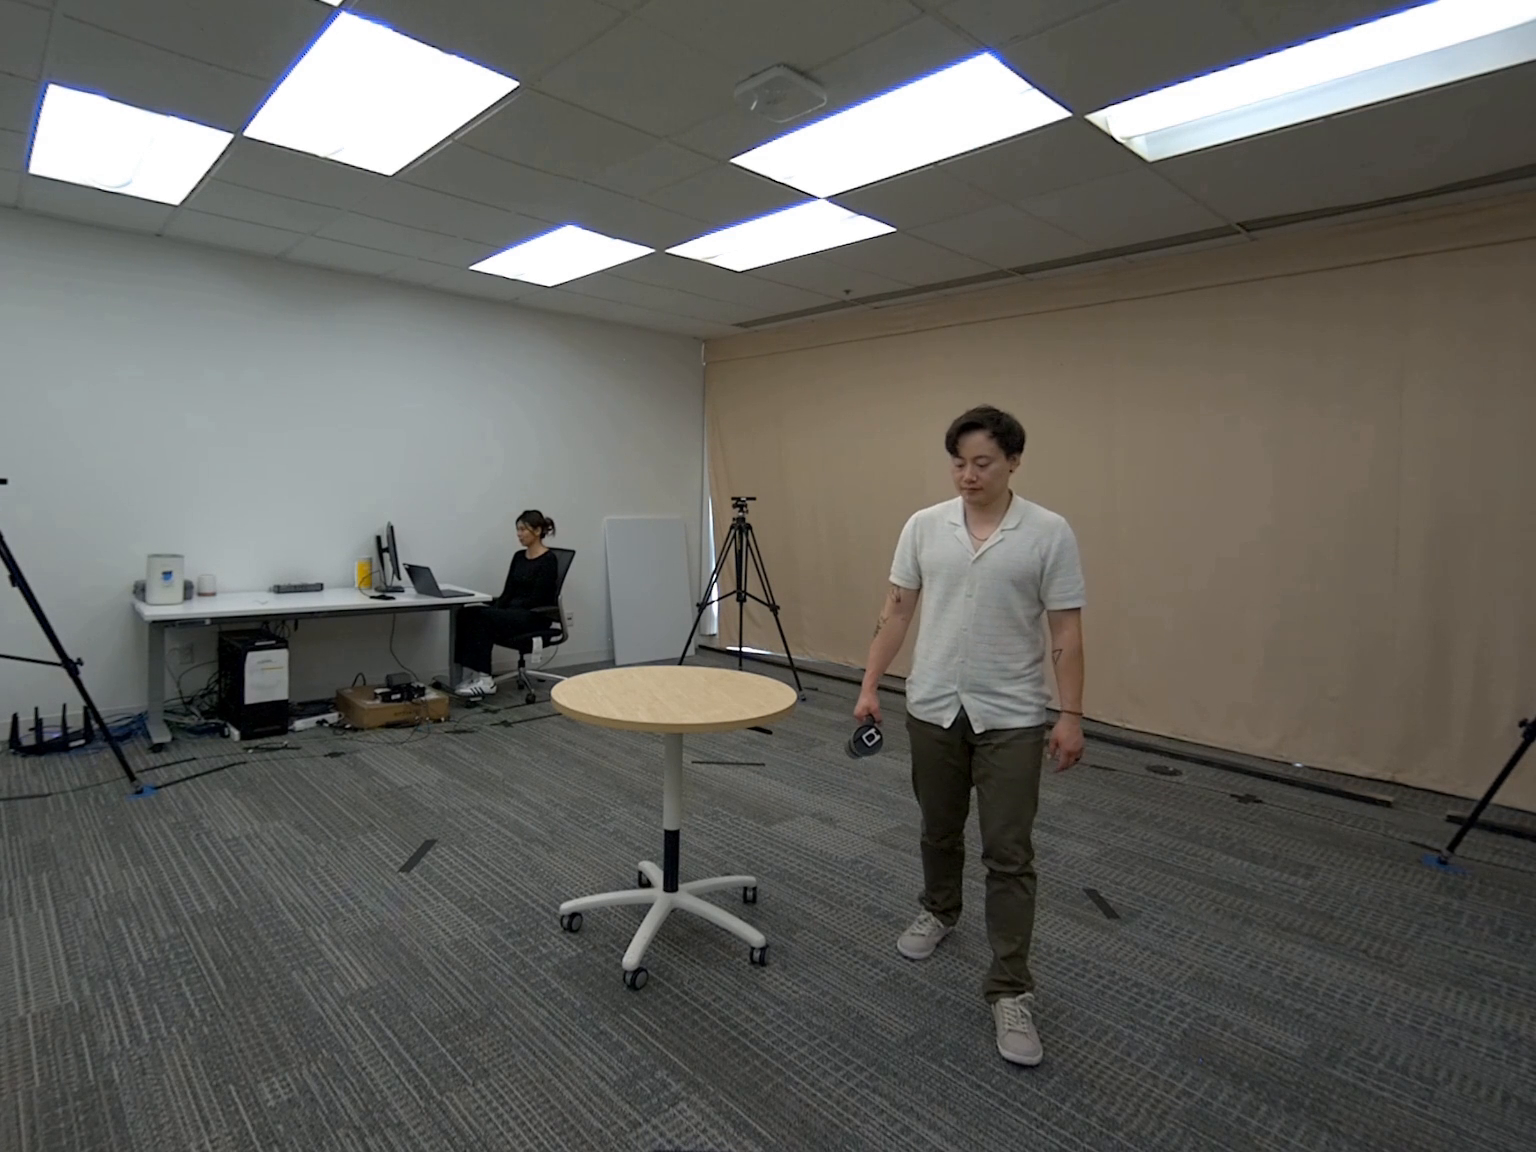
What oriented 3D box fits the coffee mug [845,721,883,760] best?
[{"bbox_3d":[0.296,0.460,2.489,0.089,0.122,0.200,10,-9,10],"label":"coffee mug"}]
